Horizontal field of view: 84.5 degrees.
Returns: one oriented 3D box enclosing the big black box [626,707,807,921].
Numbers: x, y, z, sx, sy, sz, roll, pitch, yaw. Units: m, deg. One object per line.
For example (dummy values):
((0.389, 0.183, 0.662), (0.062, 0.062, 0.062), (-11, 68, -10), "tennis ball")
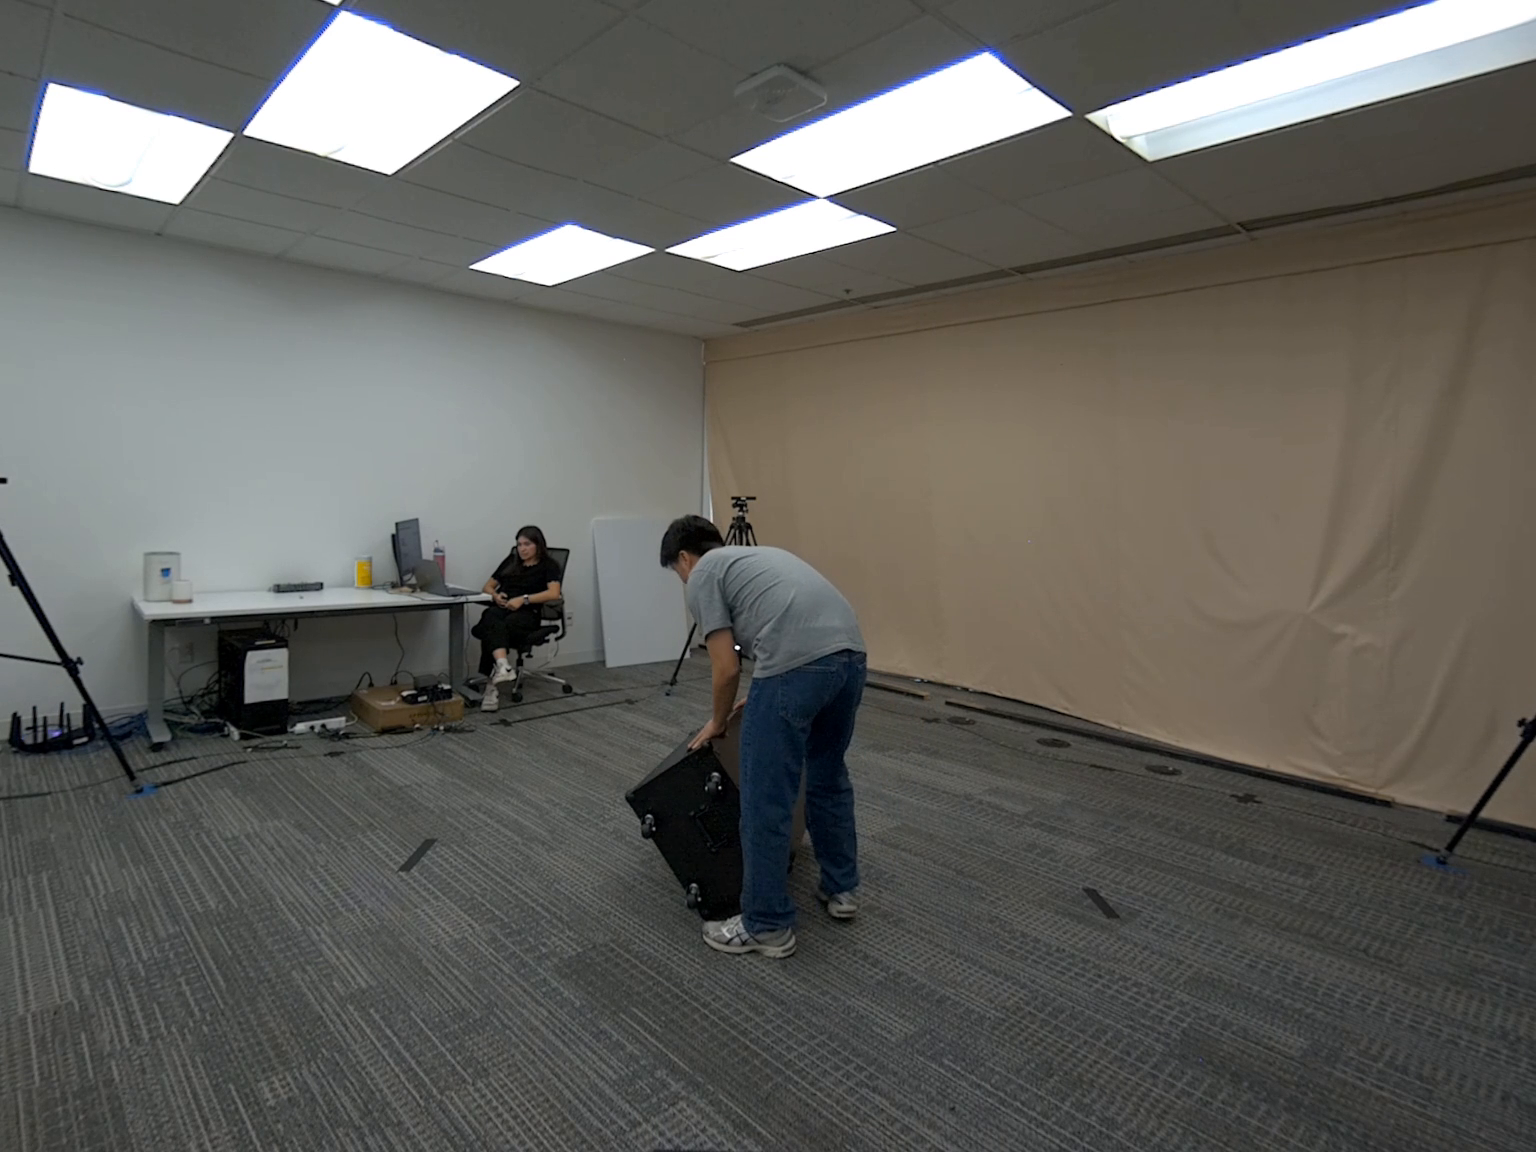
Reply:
((-0.156, 0.808, 3.097), (0.397, 0.523, 0.856), (-35, -2, 11), "big black box")
